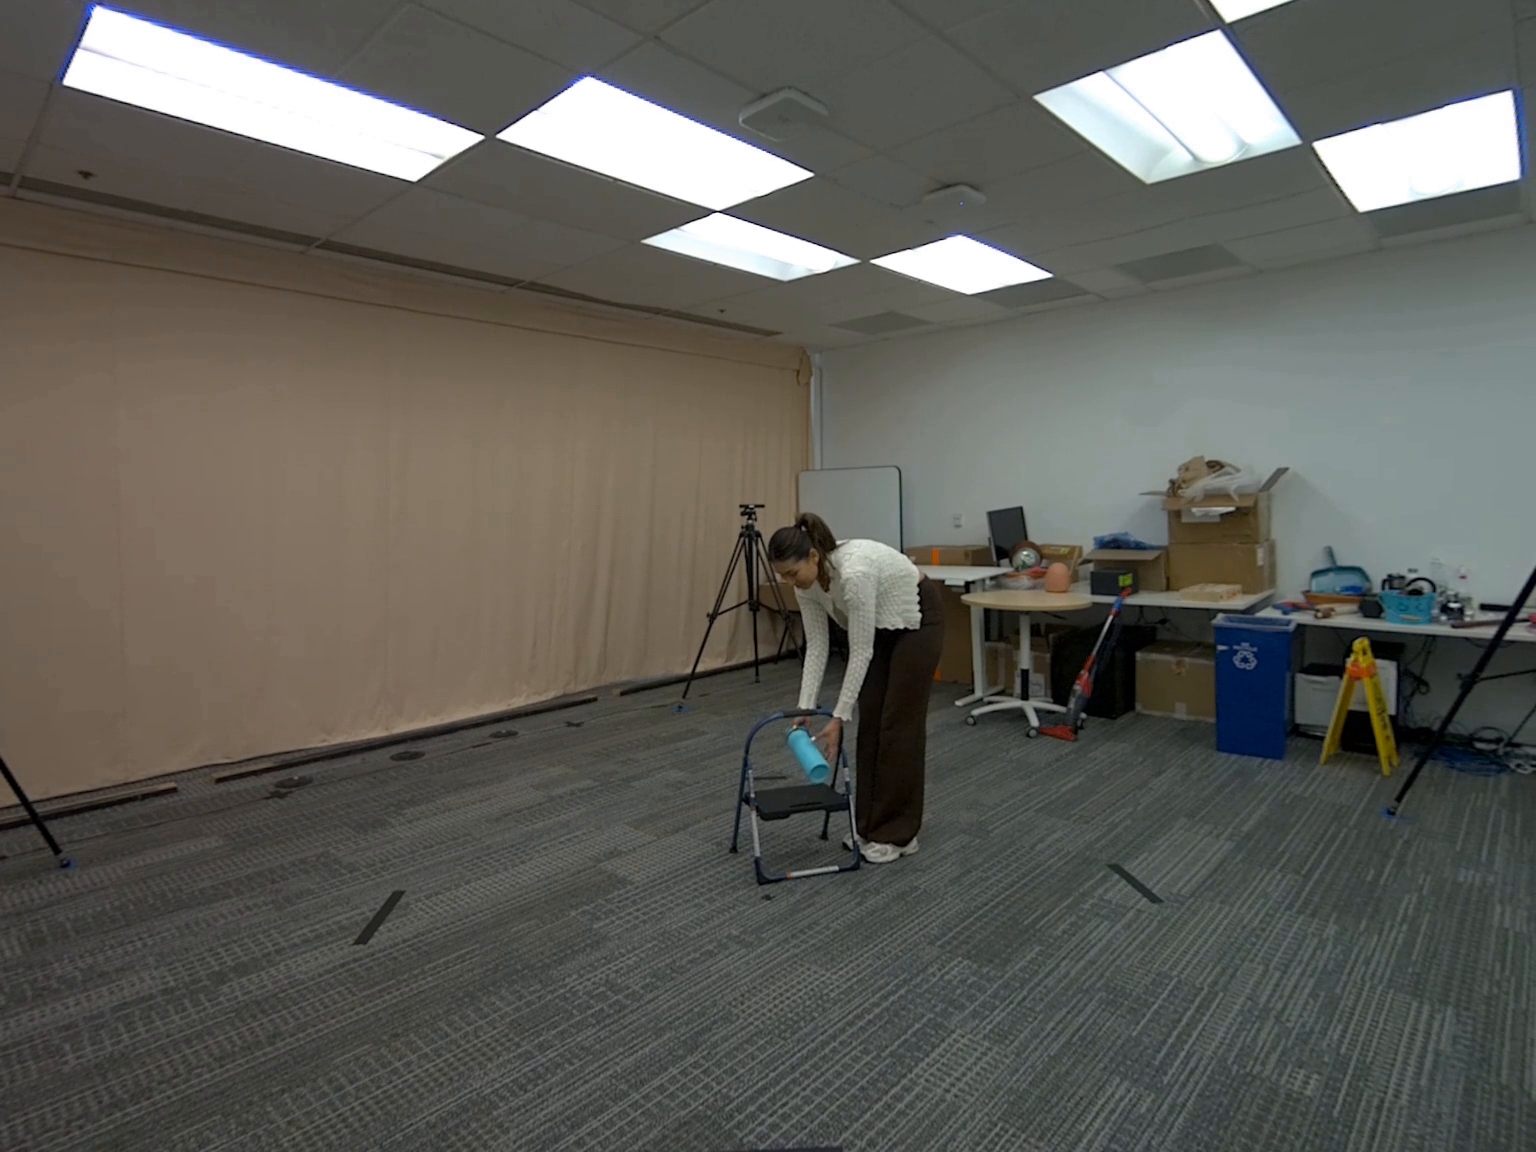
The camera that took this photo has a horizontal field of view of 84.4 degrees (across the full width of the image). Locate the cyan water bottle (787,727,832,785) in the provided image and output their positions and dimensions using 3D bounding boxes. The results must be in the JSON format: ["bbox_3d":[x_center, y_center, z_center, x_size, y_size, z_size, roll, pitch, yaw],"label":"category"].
[{"bbox_3d":[0.147,0.653,3.168,0.091,0.091,0.291,-2,24,-16],"label":"cyan water bottle"}]
